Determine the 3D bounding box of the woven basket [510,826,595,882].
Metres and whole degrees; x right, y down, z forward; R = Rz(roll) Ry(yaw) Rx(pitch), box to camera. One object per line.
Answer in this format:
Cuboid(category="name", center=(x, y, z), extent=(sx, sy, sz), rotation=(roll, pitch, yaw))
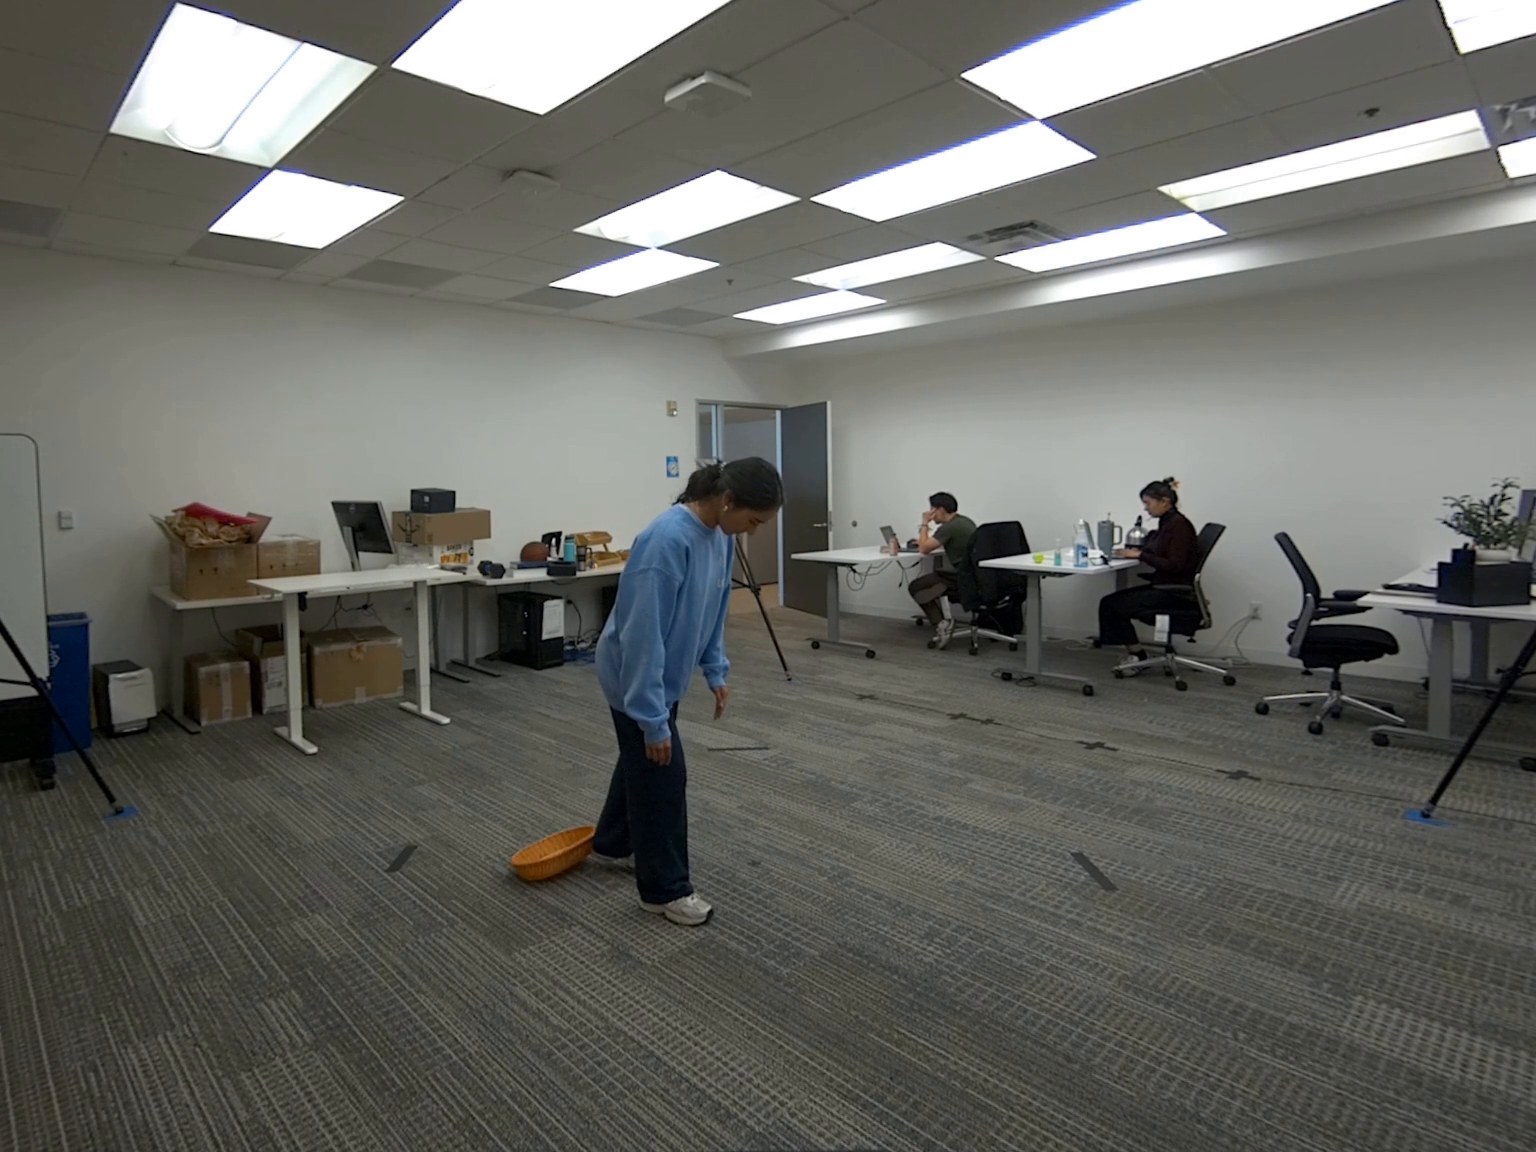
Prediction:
Cuboid(category="woven basket", center=(-0.759, 1.006, 3.093), extent=(0.258, 0.073, 0.343), rotation=(-12, 2, 44))
